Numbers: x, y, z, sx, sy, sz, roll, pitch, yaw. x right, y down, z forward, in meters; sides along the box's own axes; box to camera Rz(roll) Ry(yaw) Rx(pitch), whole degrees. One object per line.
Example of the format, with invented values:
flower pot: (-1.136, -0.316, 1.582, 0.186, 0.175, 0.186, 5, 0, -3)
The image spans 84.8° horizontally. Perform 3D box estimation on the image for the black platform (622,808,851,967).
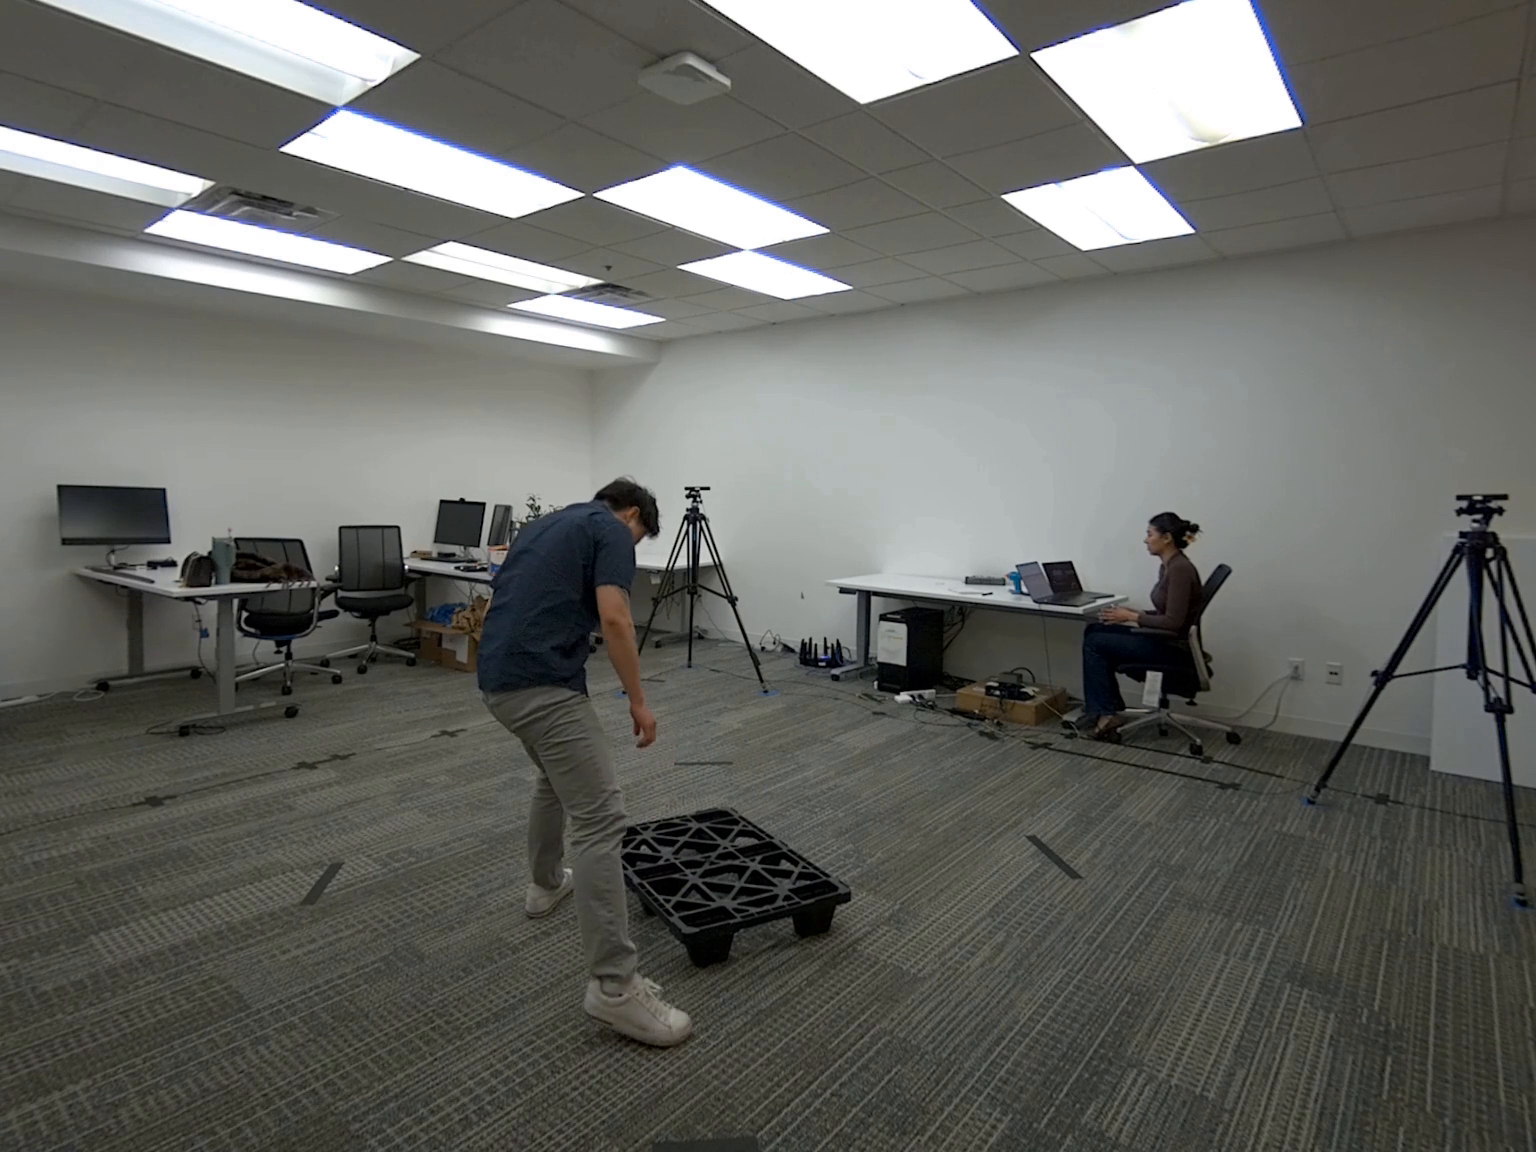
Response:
black platform: (-0.205, 1.022, 2.875, 0.589, 0.143, 0.831, -3, 7, -31)
